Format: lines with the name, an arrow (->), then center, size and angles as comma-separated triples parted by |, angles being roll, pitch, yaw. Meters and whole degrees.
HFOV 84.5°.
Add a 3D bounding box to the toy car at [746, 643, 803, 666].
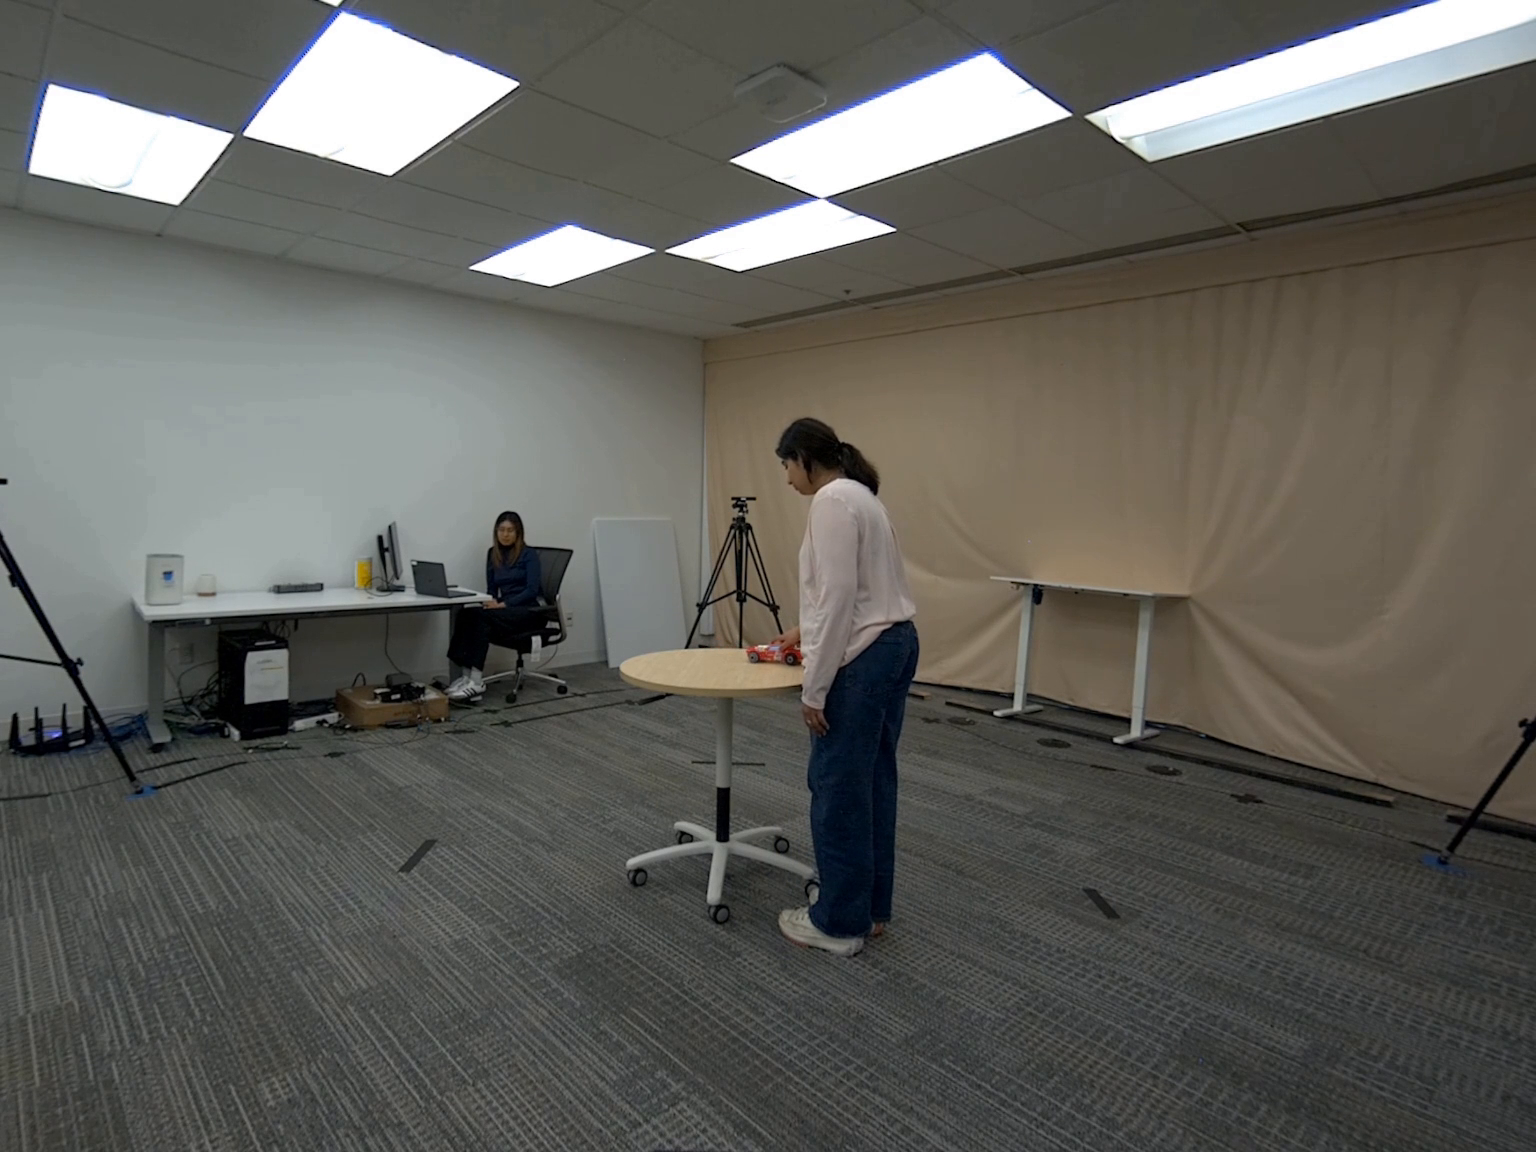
toy car -> 0.037, 0.294, 3.139 | 0.257, 0.083, 0.128 | -8, -1, 17
